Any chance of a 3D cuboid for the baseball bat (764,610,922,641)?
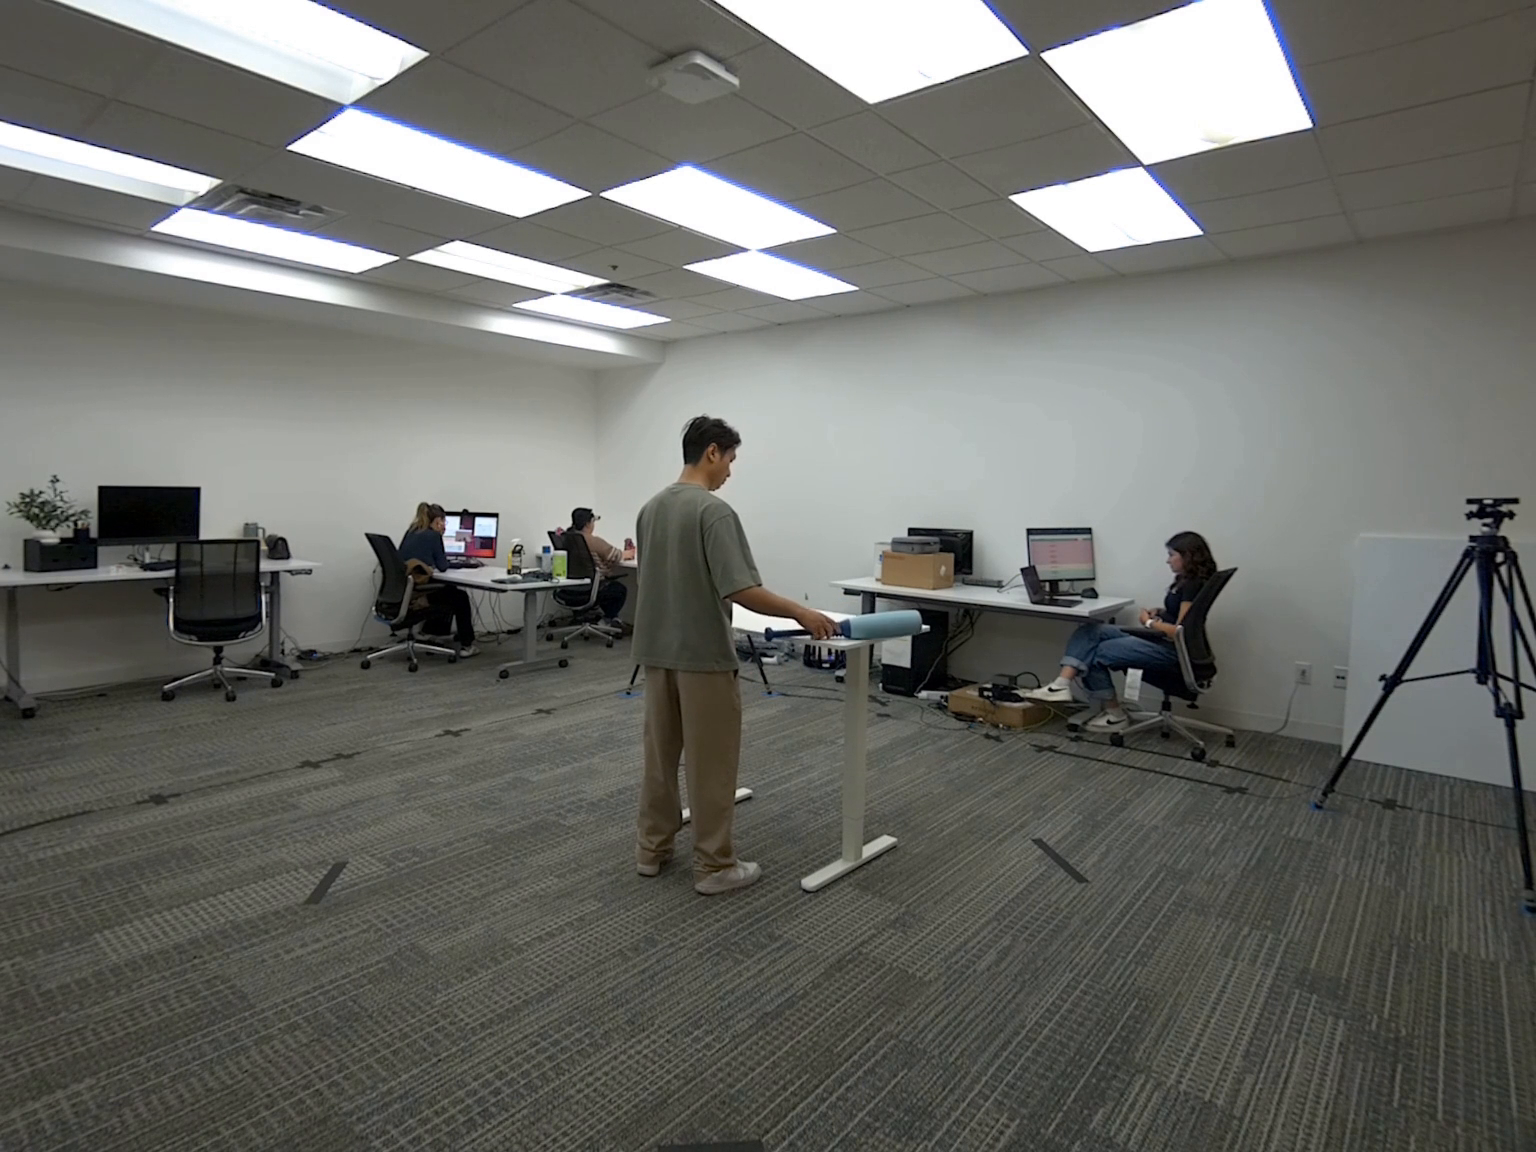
[{"bbox_3d":[0.249,0.183,2.941,0.541,0.089,0.090,-5,5,-3],"label":"baseball bat"}]
